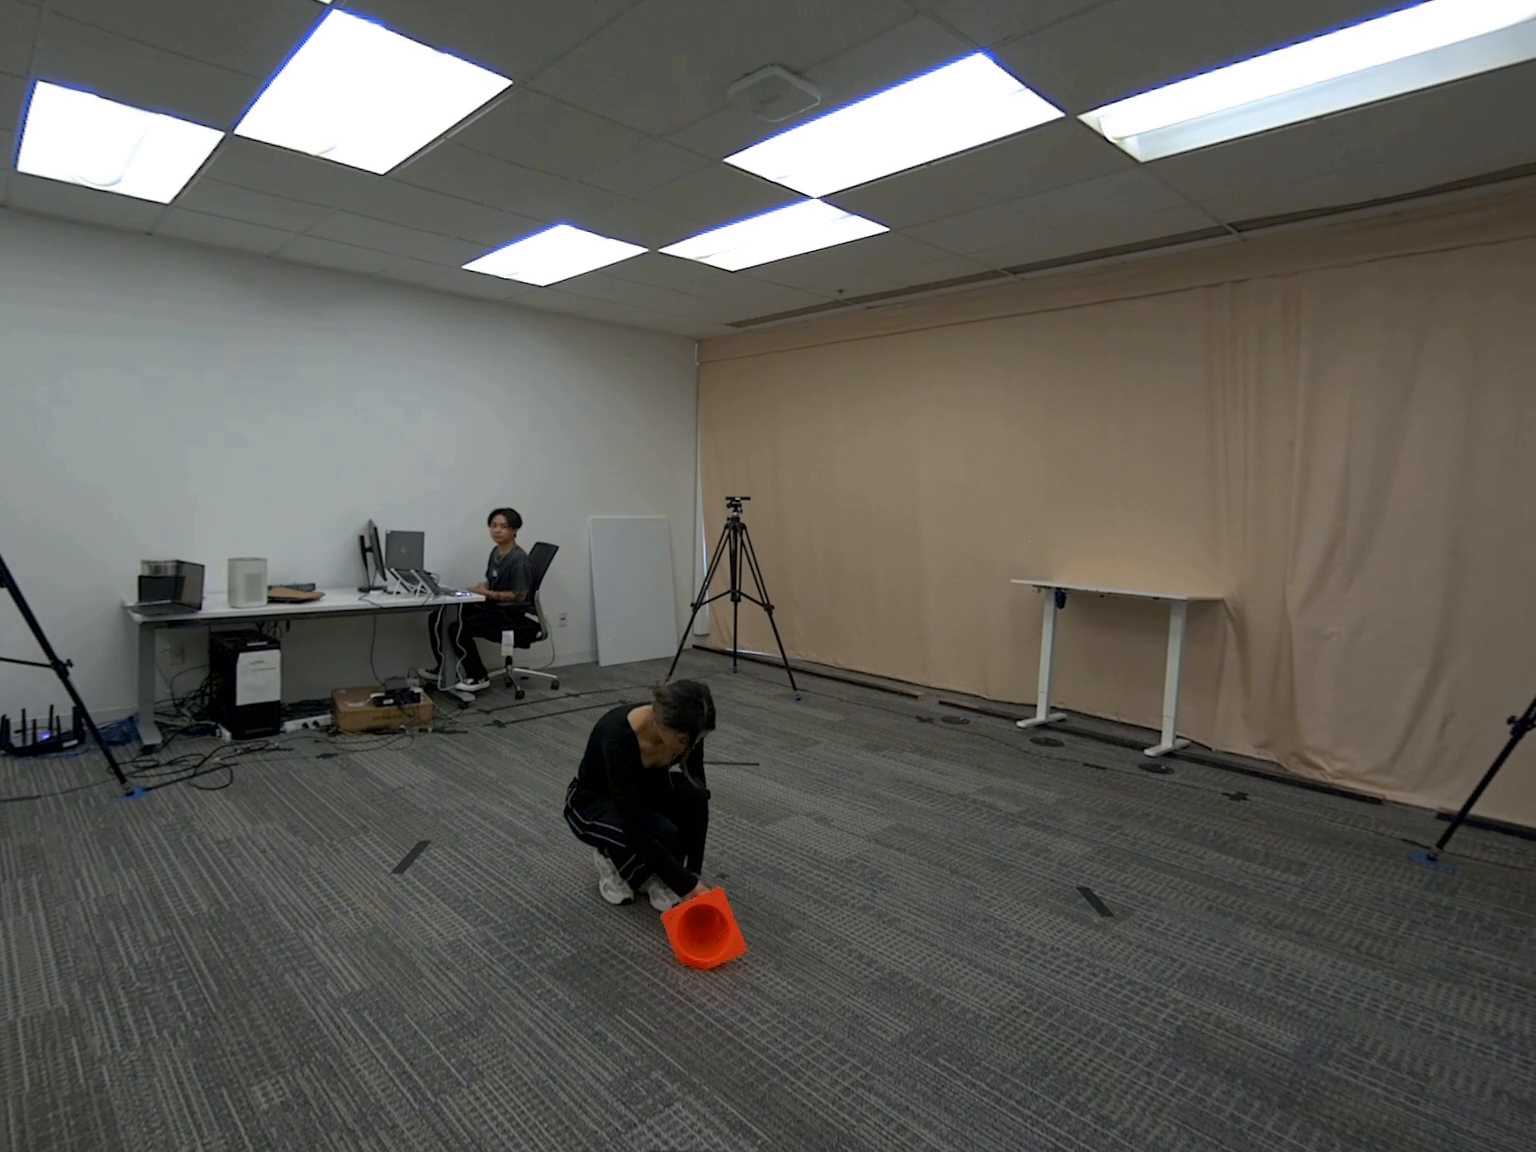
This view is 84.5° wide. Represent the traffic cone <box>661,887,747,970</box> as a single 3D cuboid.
[{"bbox_3d":[-0.221,1.092,2.666,0.204,0.205,0.381,-18,-8,-6],"label":"traffic cone"}]
